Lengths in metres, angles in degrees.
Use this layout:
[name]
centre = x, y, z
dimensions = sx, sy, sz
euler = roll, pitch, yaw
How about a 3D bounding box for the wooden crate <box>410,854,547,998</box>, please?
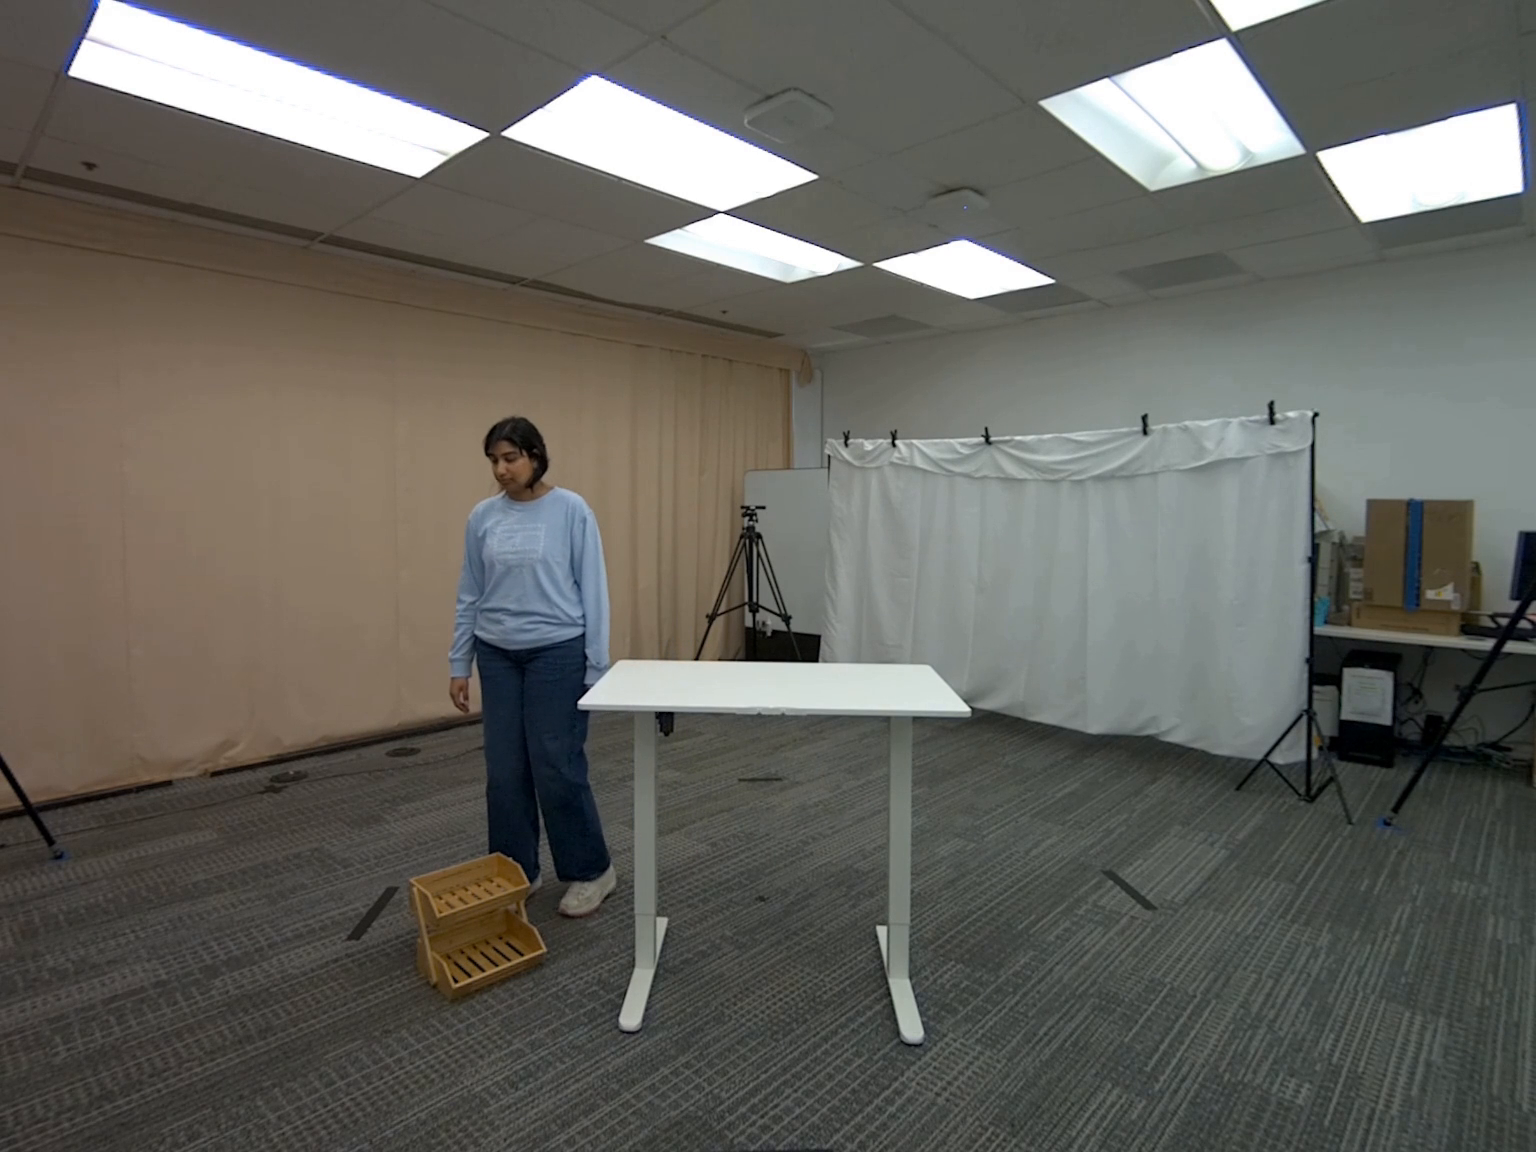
[wooden crate]
centre = -0.876, 1.043, 2.565
dimensions = 0.314, 0.273, 0.312
euler = -3, 4, -44
